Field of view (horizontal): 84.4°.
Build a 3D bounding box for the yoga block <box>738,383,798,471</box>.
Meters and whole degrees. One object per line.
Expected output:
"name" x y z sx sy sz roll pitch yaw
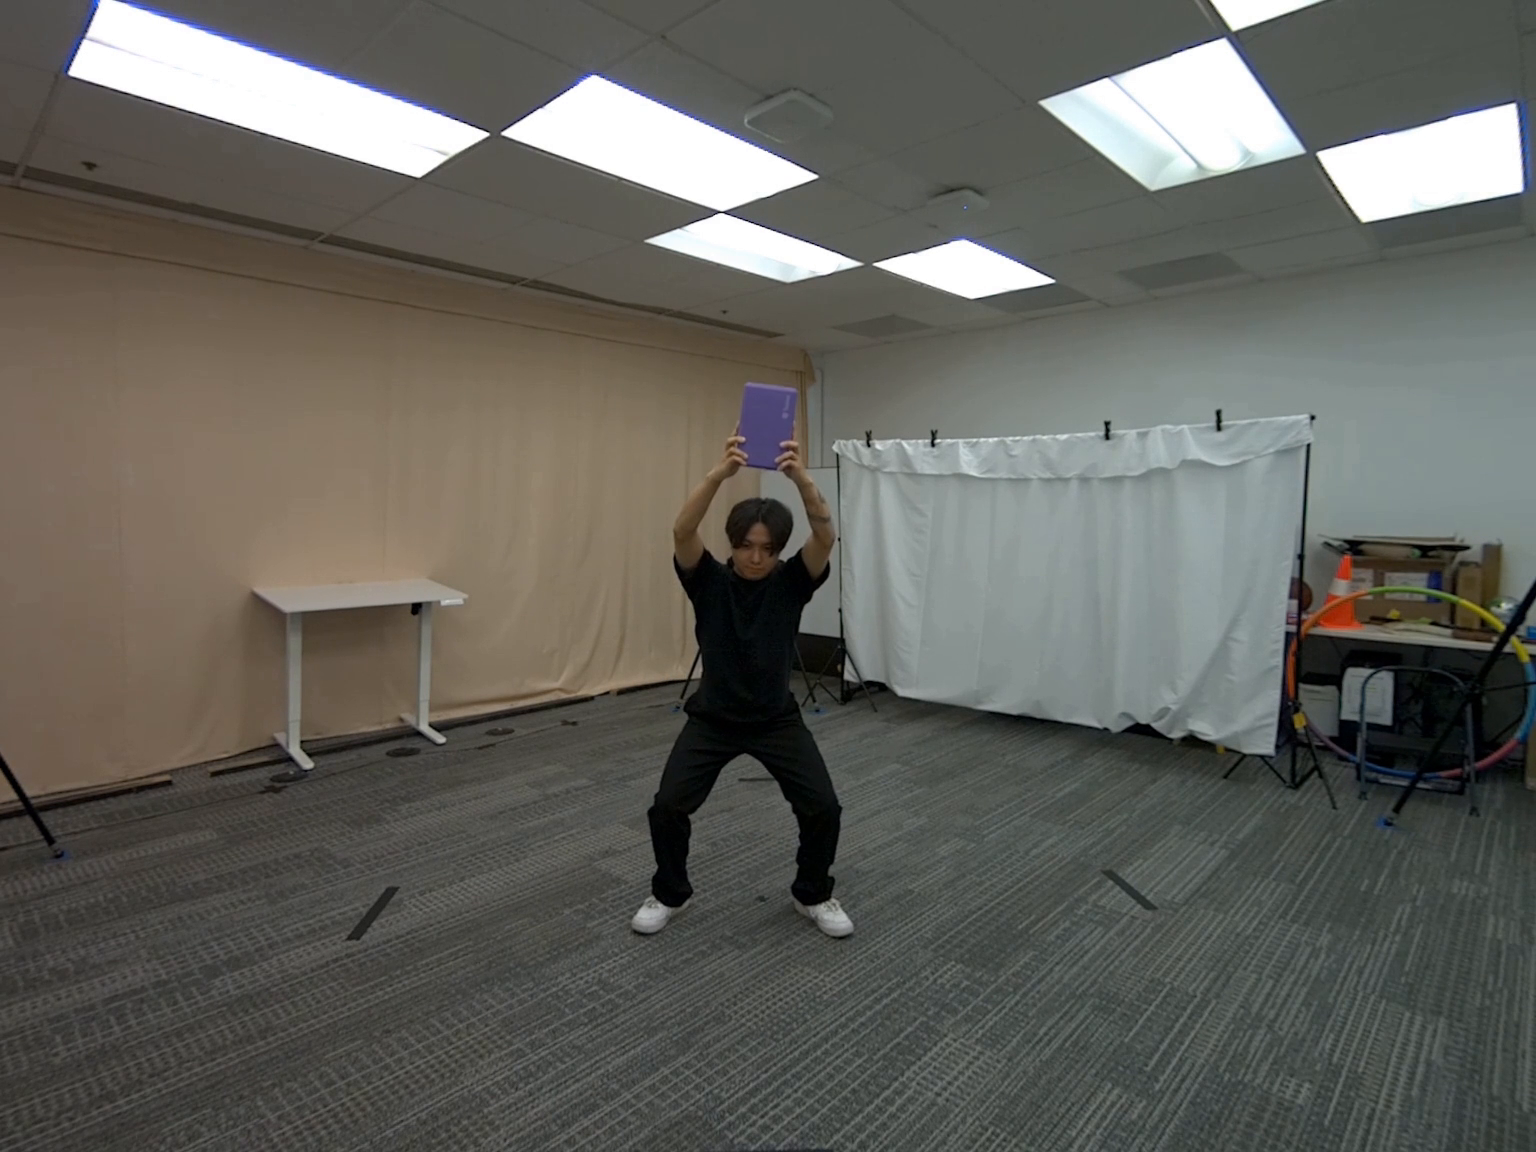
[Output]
"yoga block" 0.000 -0.420 2.357 0.150 0.228 0.076 8 9 5
